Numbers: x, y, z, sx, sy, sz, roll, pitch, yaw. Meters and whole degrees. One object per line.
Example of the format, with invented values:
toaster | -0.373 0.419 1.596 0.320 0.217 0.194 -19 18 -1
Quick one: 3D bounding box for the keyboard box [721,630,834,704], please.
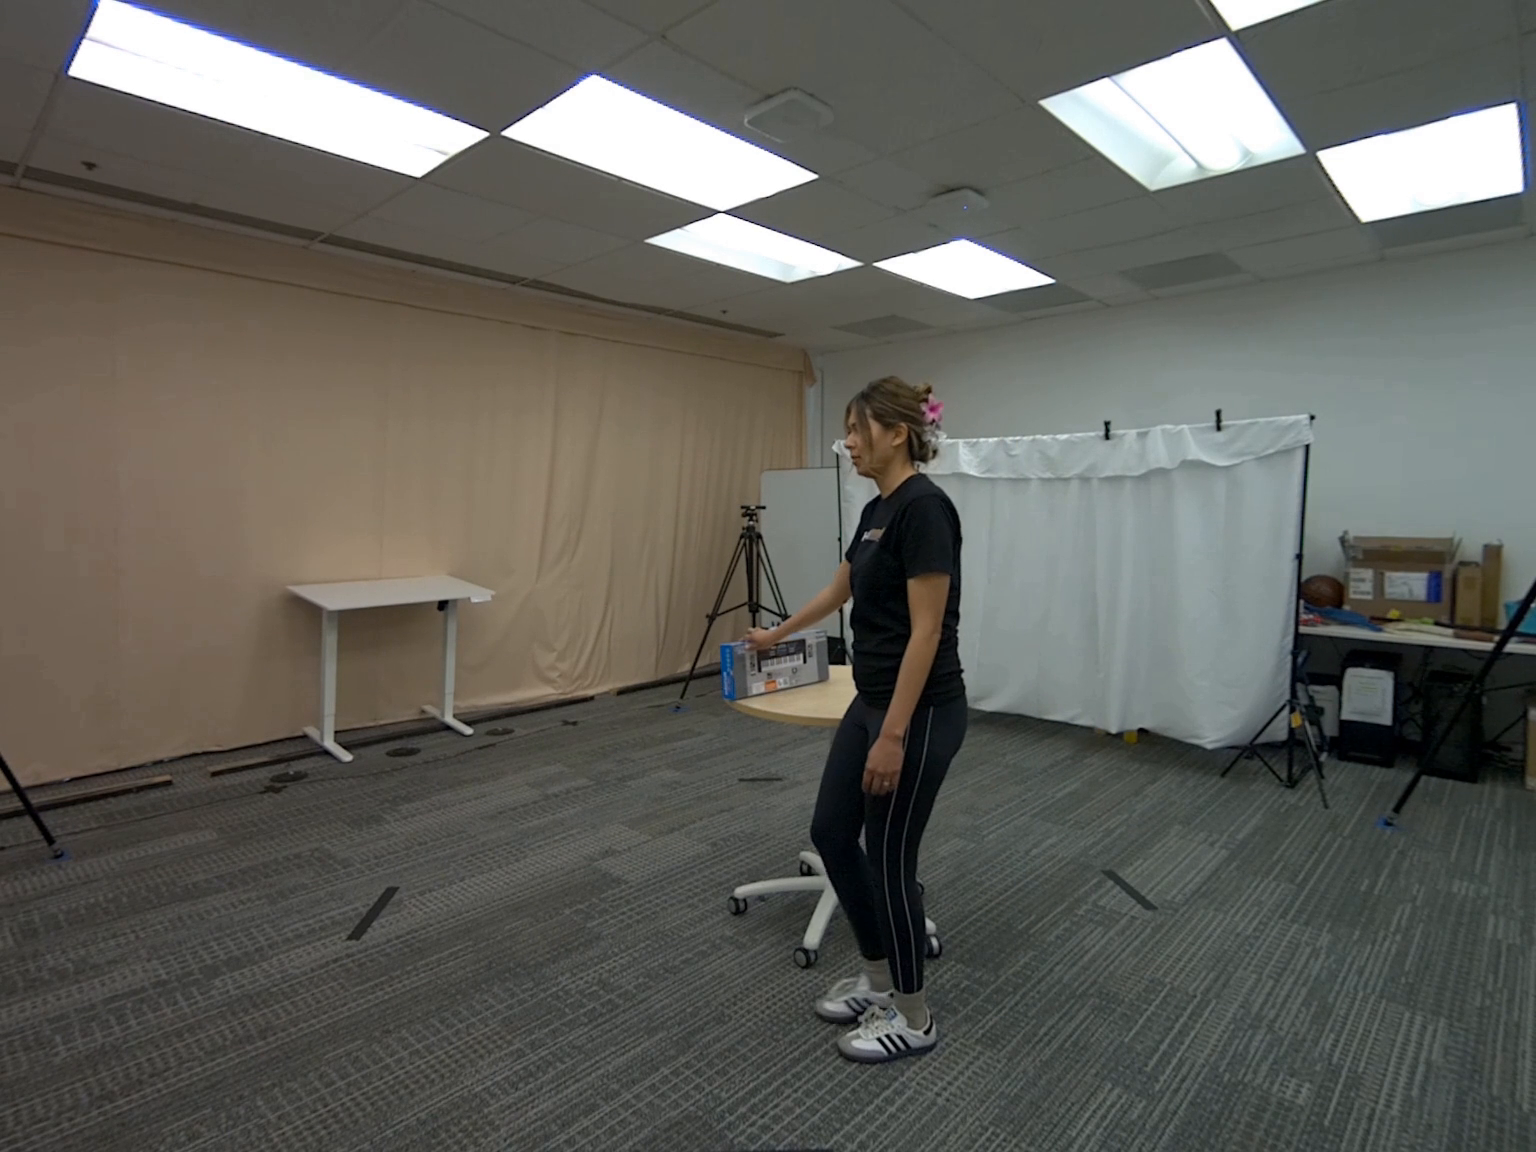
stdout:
keyboard box | 0.037 0.290 2.788 0.424 0.176 0.061 -5 1 -41
